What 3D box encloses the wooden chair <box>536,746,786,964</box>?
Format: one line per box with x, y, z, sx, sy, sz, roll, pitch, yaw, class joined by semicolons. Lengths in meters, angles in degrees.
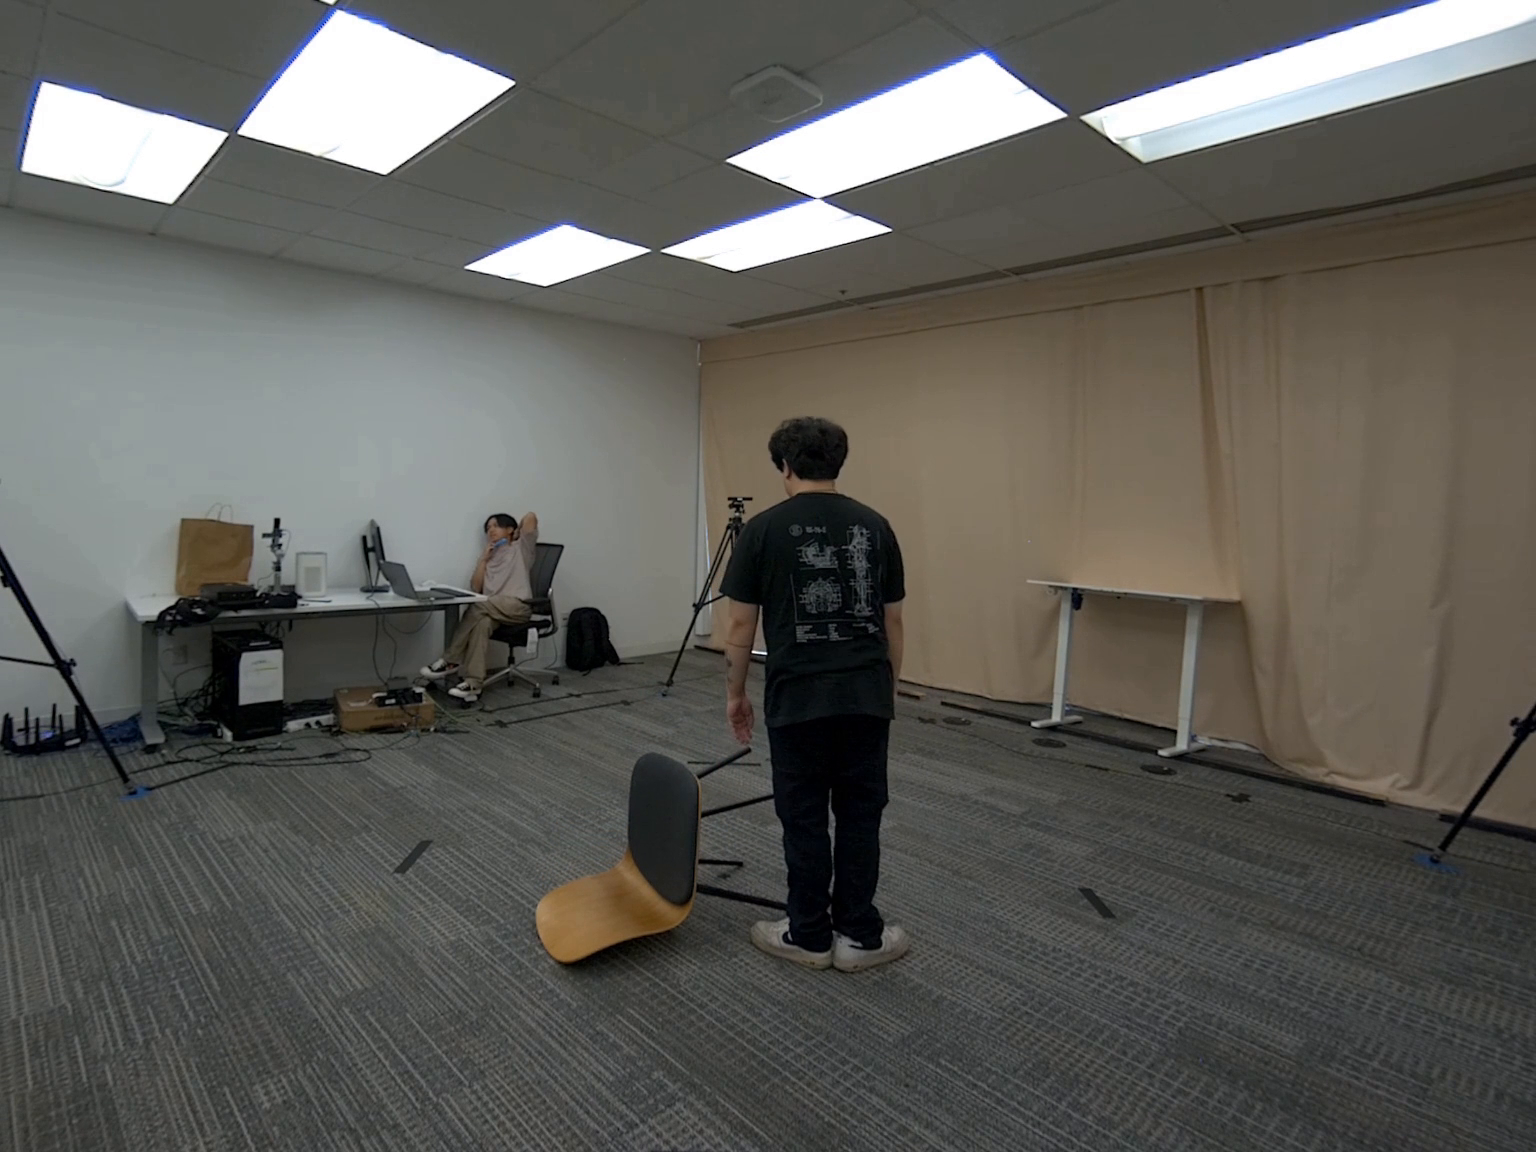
-0.315;0.876;2.783;0.859;0.521;0.489;-3;6;-32;wooden chair
